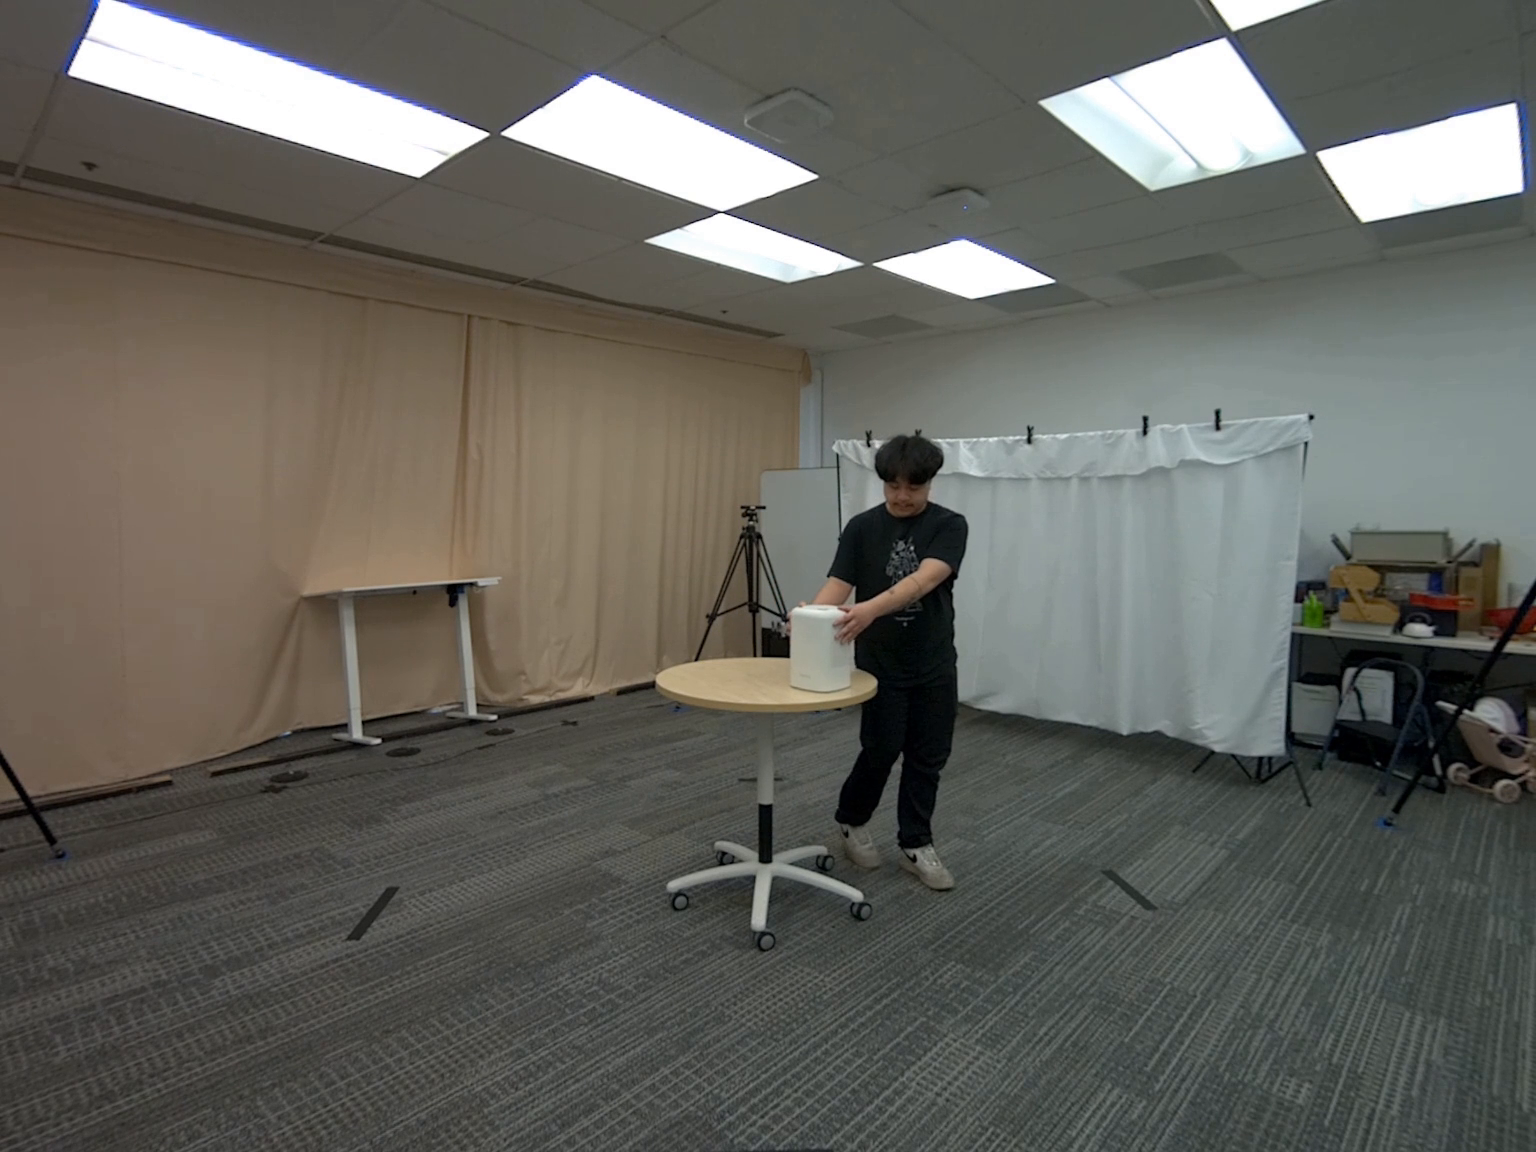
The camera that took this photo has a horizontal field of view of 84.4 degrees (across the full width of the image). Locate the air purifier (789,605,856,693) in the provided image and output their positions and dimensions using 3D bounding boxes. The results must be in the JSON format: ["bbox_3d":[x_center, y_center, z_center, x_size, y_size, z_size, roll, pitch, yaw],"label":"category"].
[{"bbox_3d":[0.175,0.237,2.791,0.177,0.265,0.166,5,5,42],"label":"air purifier"}]
